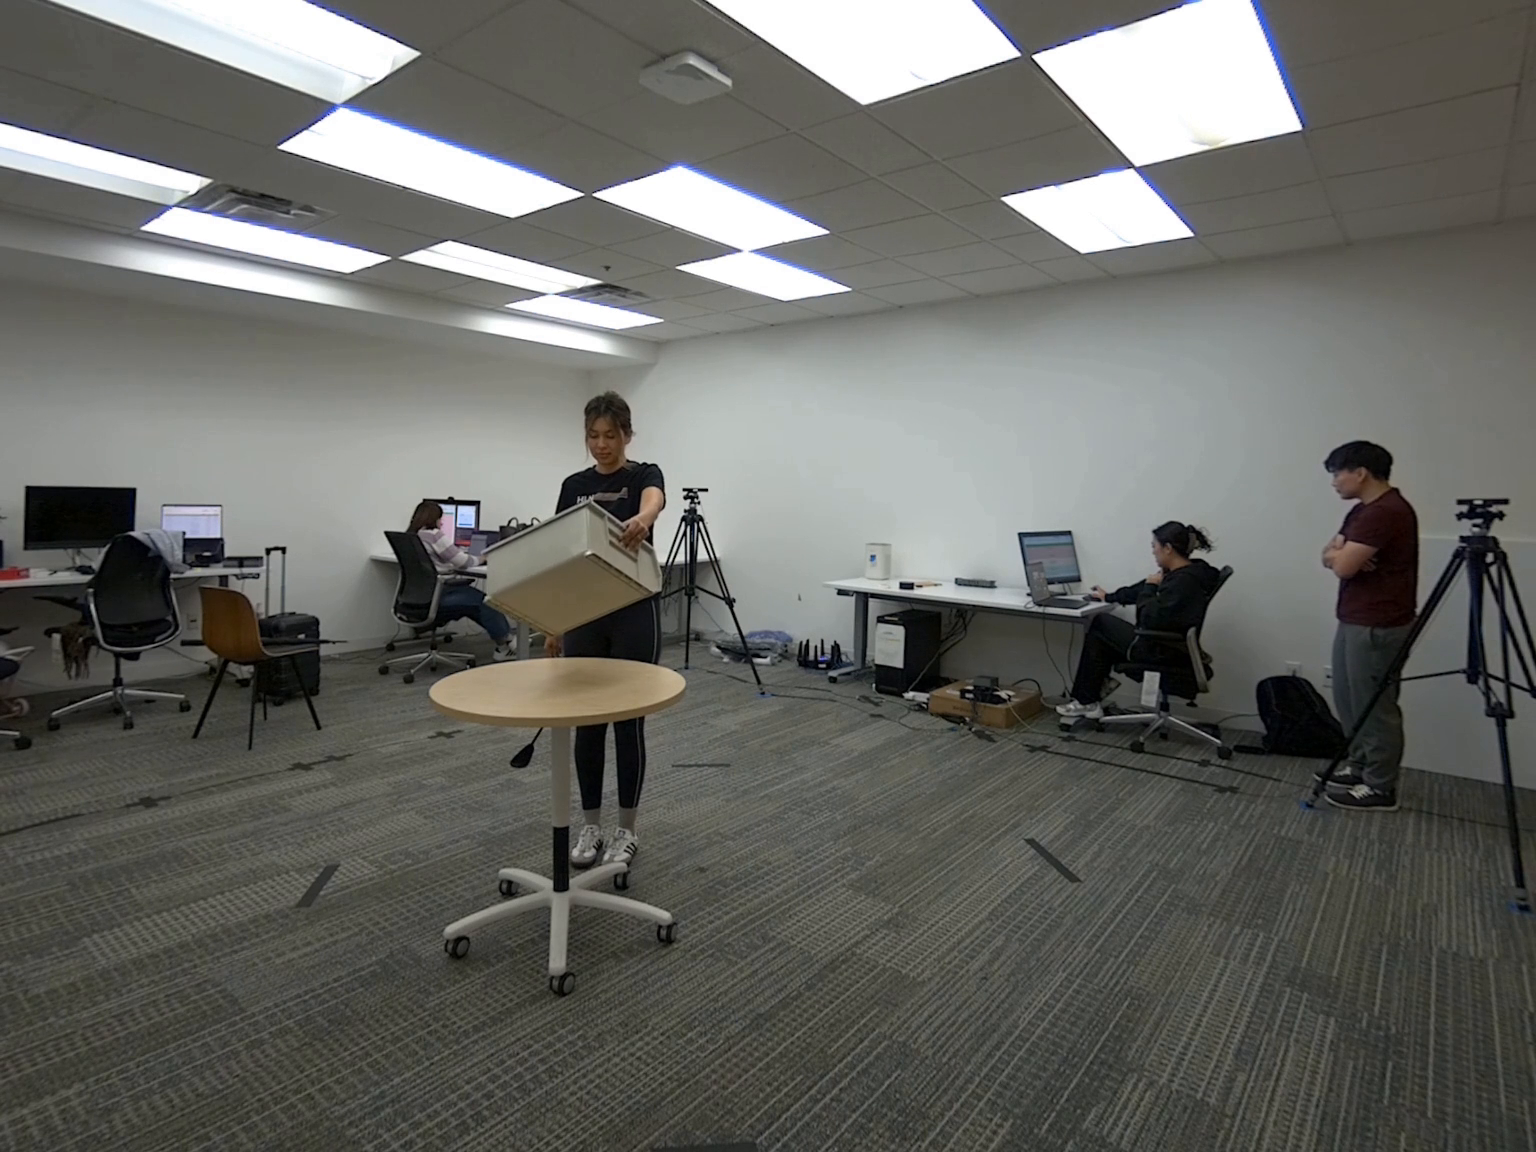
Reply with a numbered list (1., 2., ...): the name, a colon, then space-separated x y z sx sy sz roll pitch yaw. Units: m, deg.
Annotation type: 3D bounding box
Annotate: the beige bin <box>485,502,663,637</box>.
1. beige bin: -0.615 0.002 2.639 0.427 0.195 0.361 -22 -35 21
